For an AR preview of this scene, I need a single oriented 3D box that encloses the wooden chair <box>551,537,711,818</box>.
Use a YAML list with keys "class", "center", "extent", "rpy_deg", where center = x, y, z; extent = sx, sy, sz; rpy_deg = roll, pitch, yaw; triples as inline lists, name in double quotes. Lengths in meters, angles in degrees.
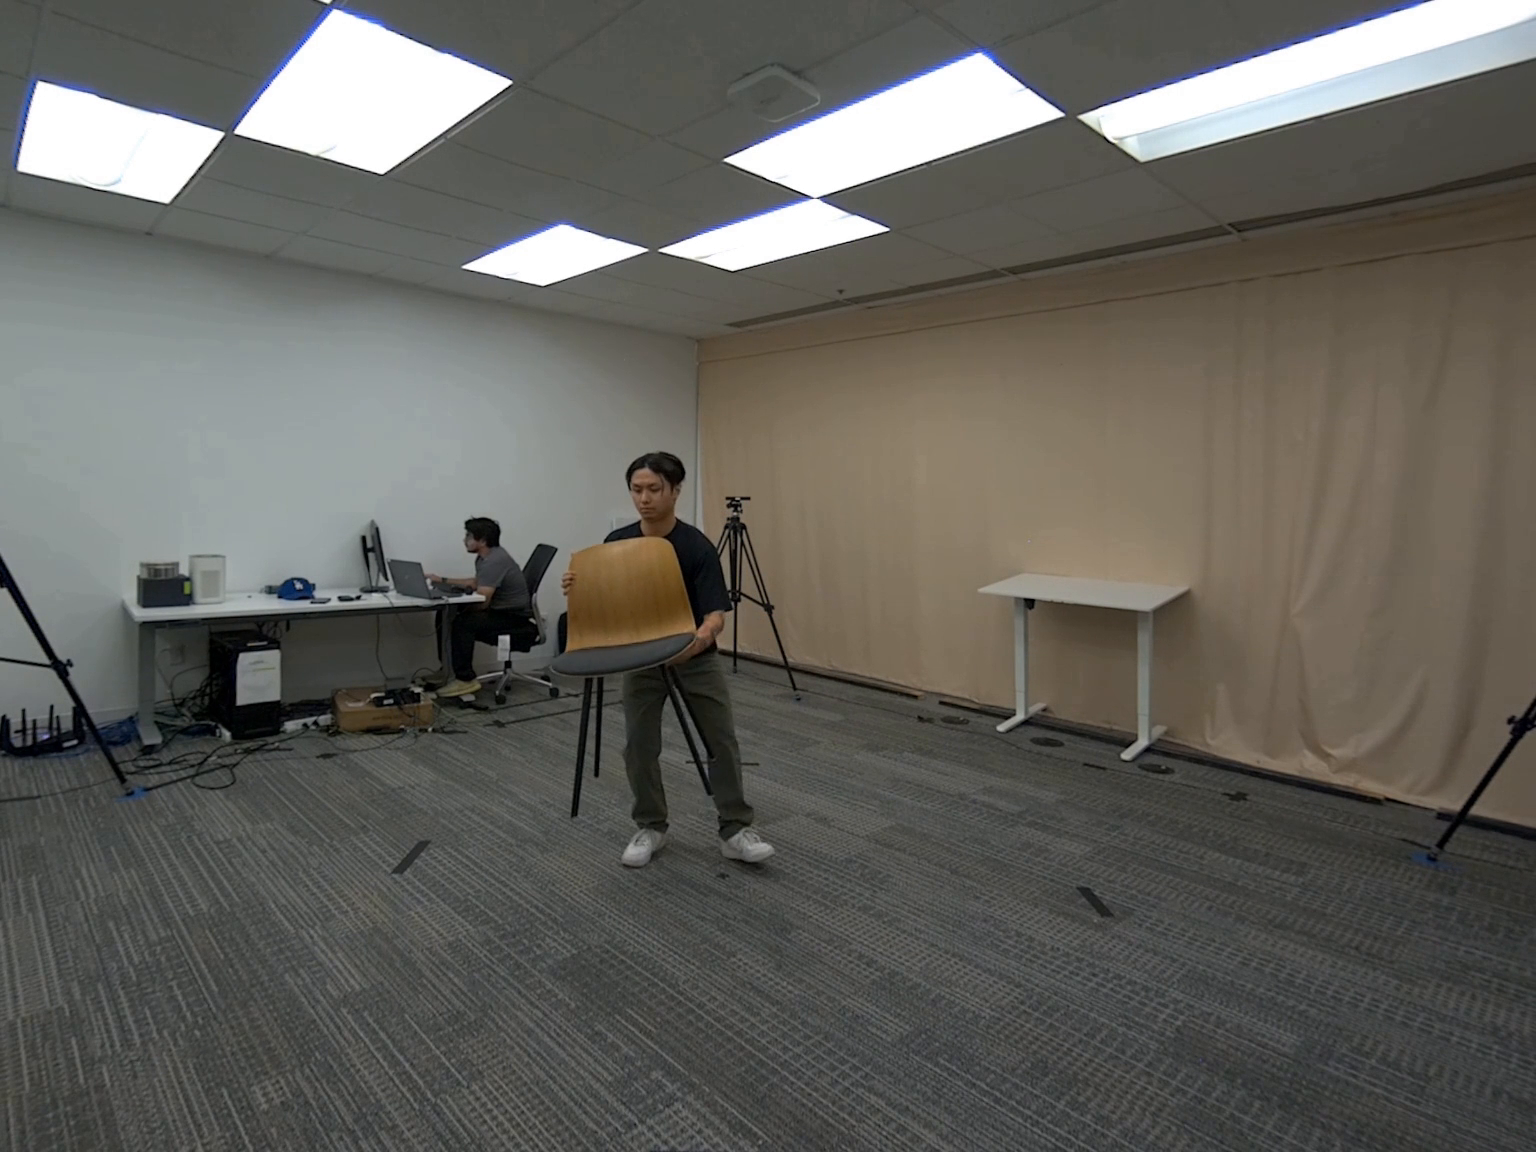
- class: "wooden chair"
  center: [-0.469, 0.303, 2.844]
  extent: [0.477, 0.880, 0.522]
  rpy_deg: [-9, -3, -2]
